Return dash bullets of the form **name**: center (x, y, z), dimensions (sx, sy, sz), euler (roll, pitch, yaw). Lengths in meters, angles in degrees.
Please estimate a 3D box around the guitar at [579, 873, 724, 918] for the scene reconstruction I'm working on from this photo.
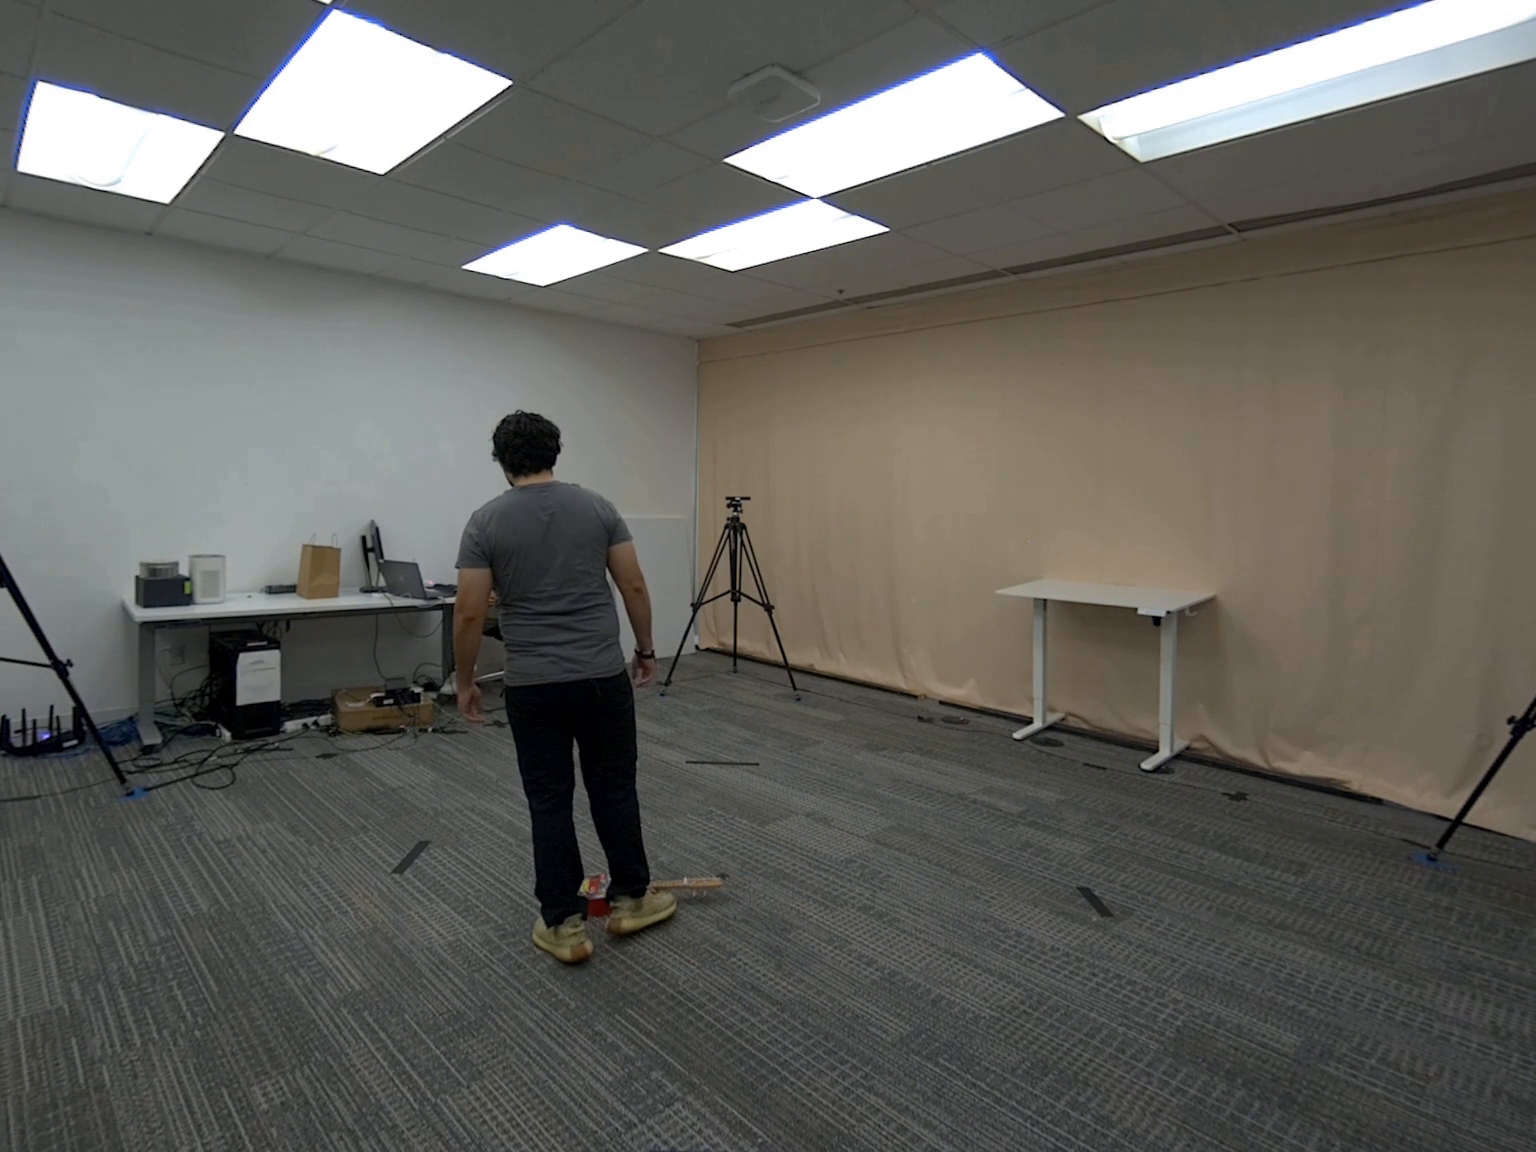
- **guitar**: center (-0.406, 1.088, 2.864), dimensions (0.498, 0.070, 0.193), euler (1, 4, 1)
